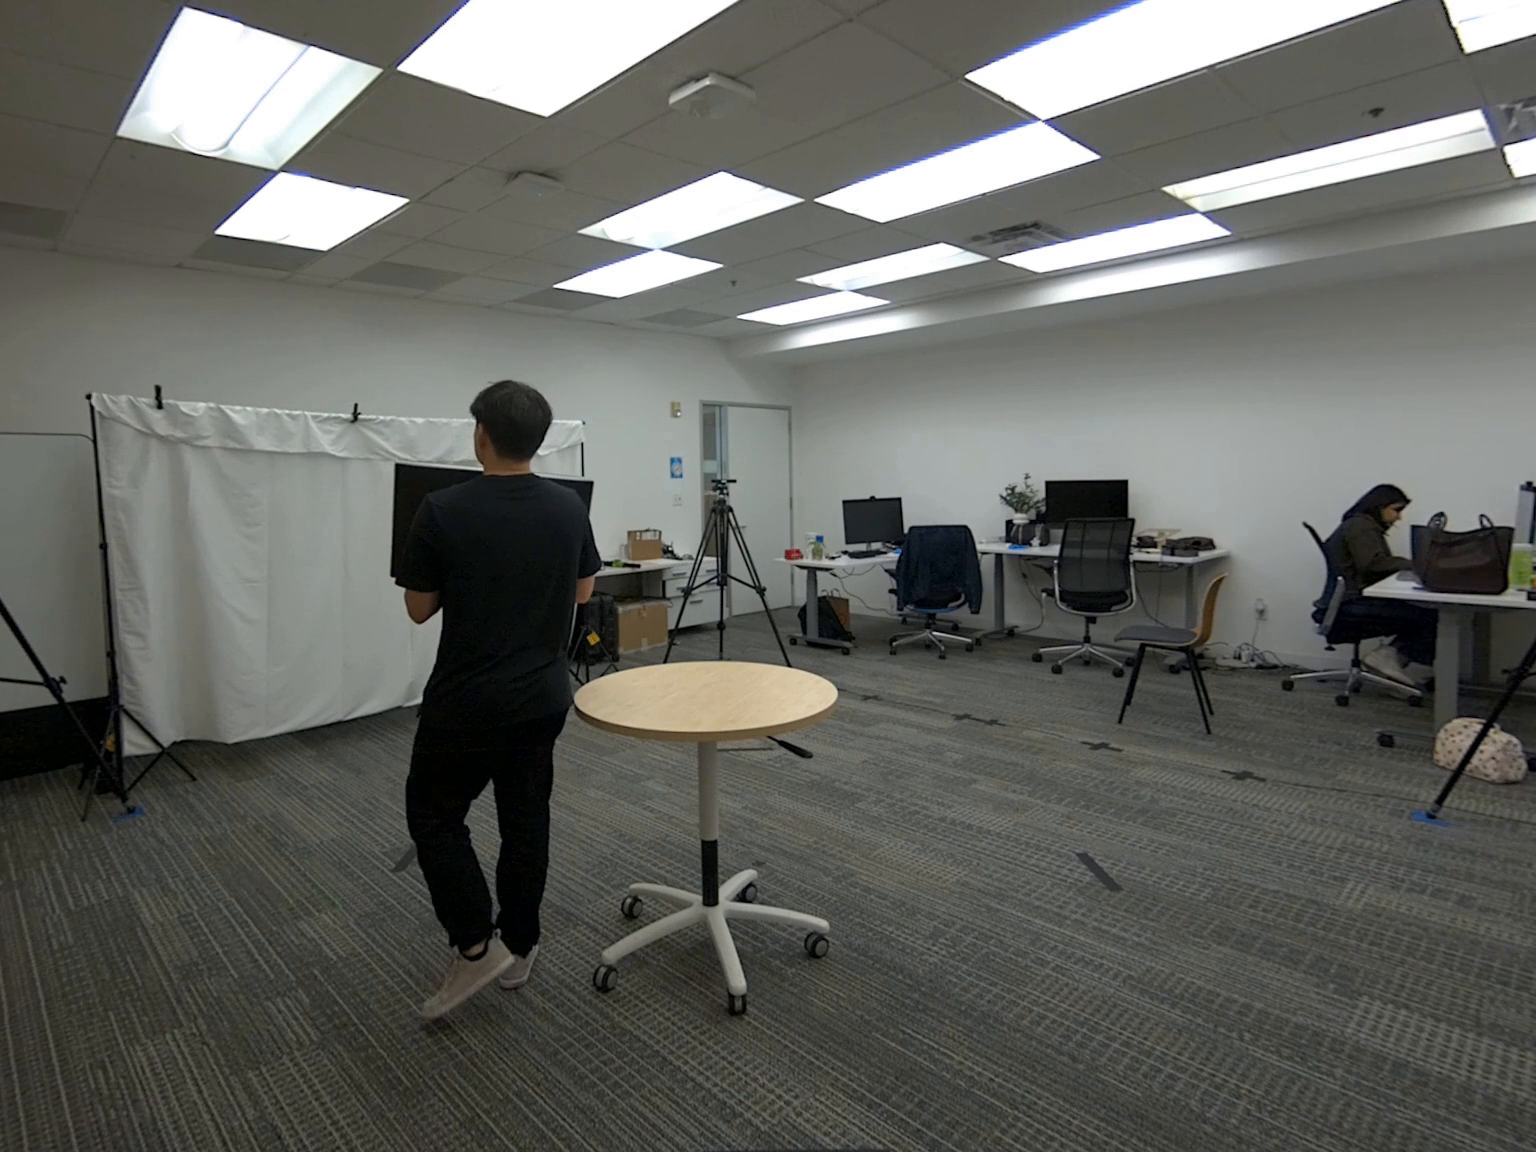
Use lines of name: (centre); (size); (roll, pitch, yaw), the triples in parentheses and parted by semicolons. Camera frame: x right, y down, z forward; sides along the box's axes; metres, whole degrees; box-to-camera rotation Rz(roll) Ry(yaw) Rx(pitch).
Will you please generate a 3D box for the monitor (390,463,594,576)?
monitor: (-0.816, -0.045, 2.511); (0.529, 0.518, 0.192); (3, 12, -19)
